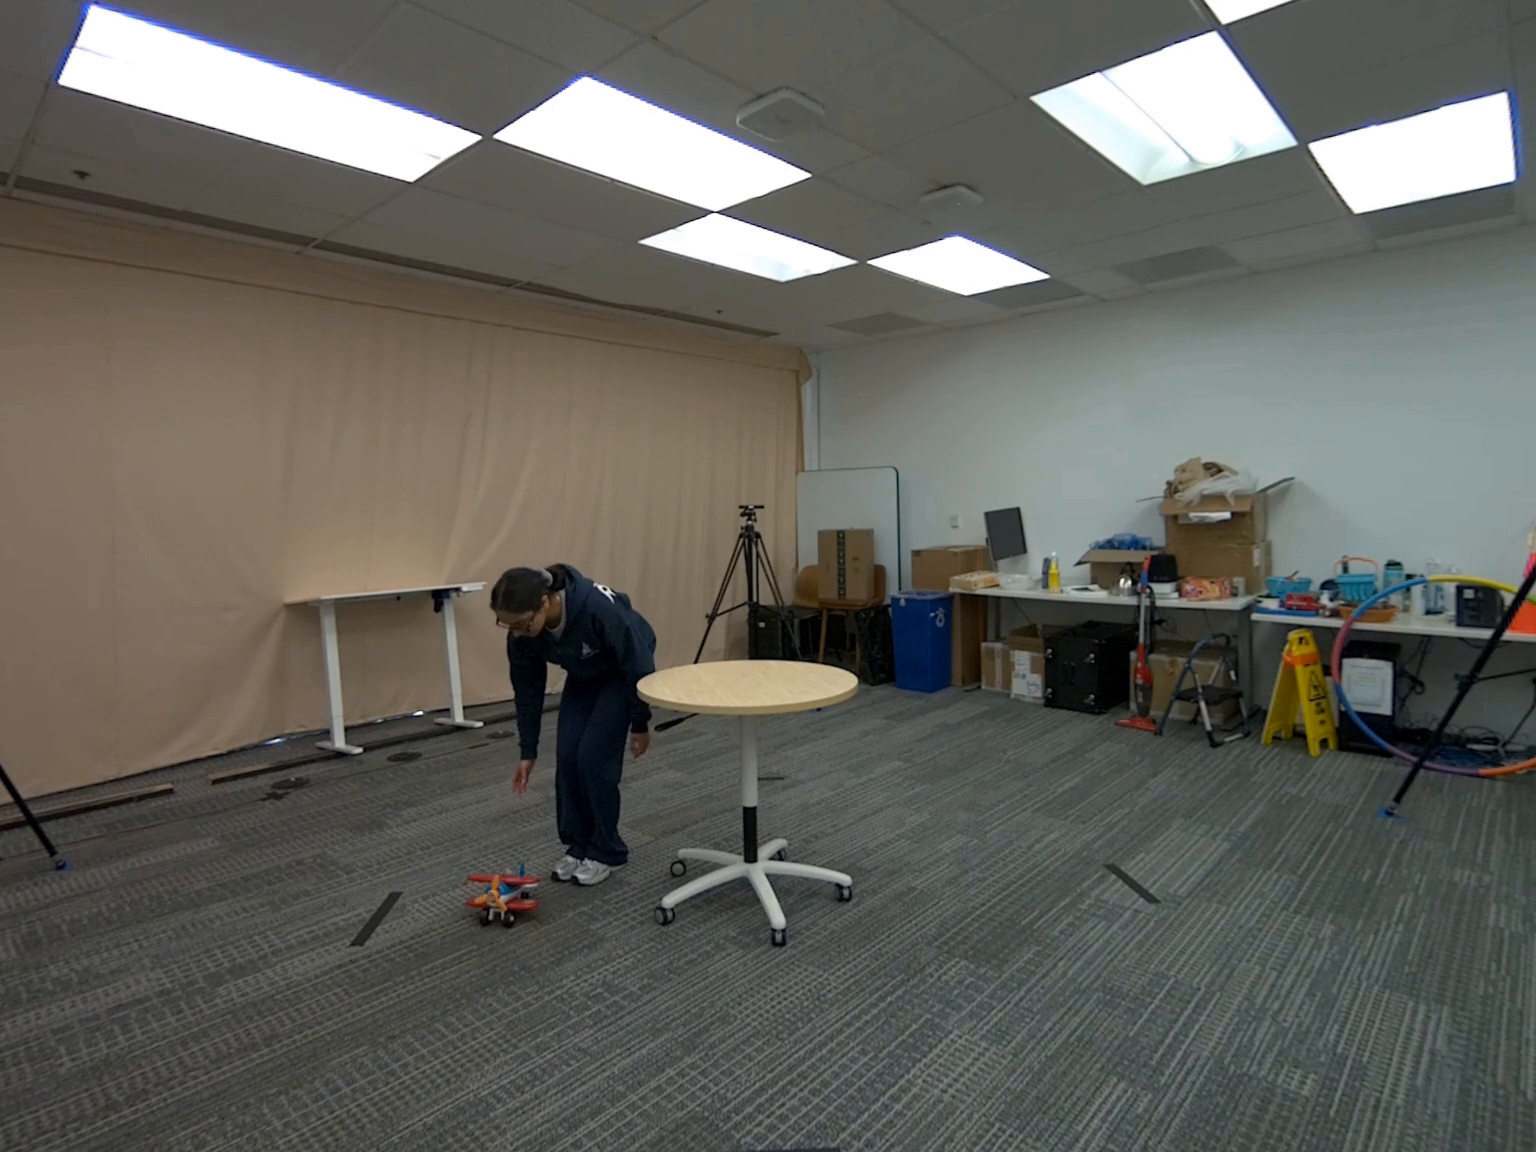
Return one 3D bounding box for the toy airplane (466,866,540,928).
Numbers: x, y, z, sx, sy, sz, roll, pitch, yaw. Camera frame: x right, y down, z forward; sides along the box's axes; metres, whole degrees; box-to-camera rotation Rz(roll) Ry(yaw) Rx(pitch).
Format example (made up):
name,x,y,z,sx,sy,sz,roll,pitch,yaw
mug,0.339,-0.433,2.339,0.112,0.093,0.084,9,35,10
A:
name,x,y,z,sx,sy,sz,roll,pitch,yaw
toy airplane,-0.924,1.095,2.912,0.246,0.156,0.265,-2,5,-19
